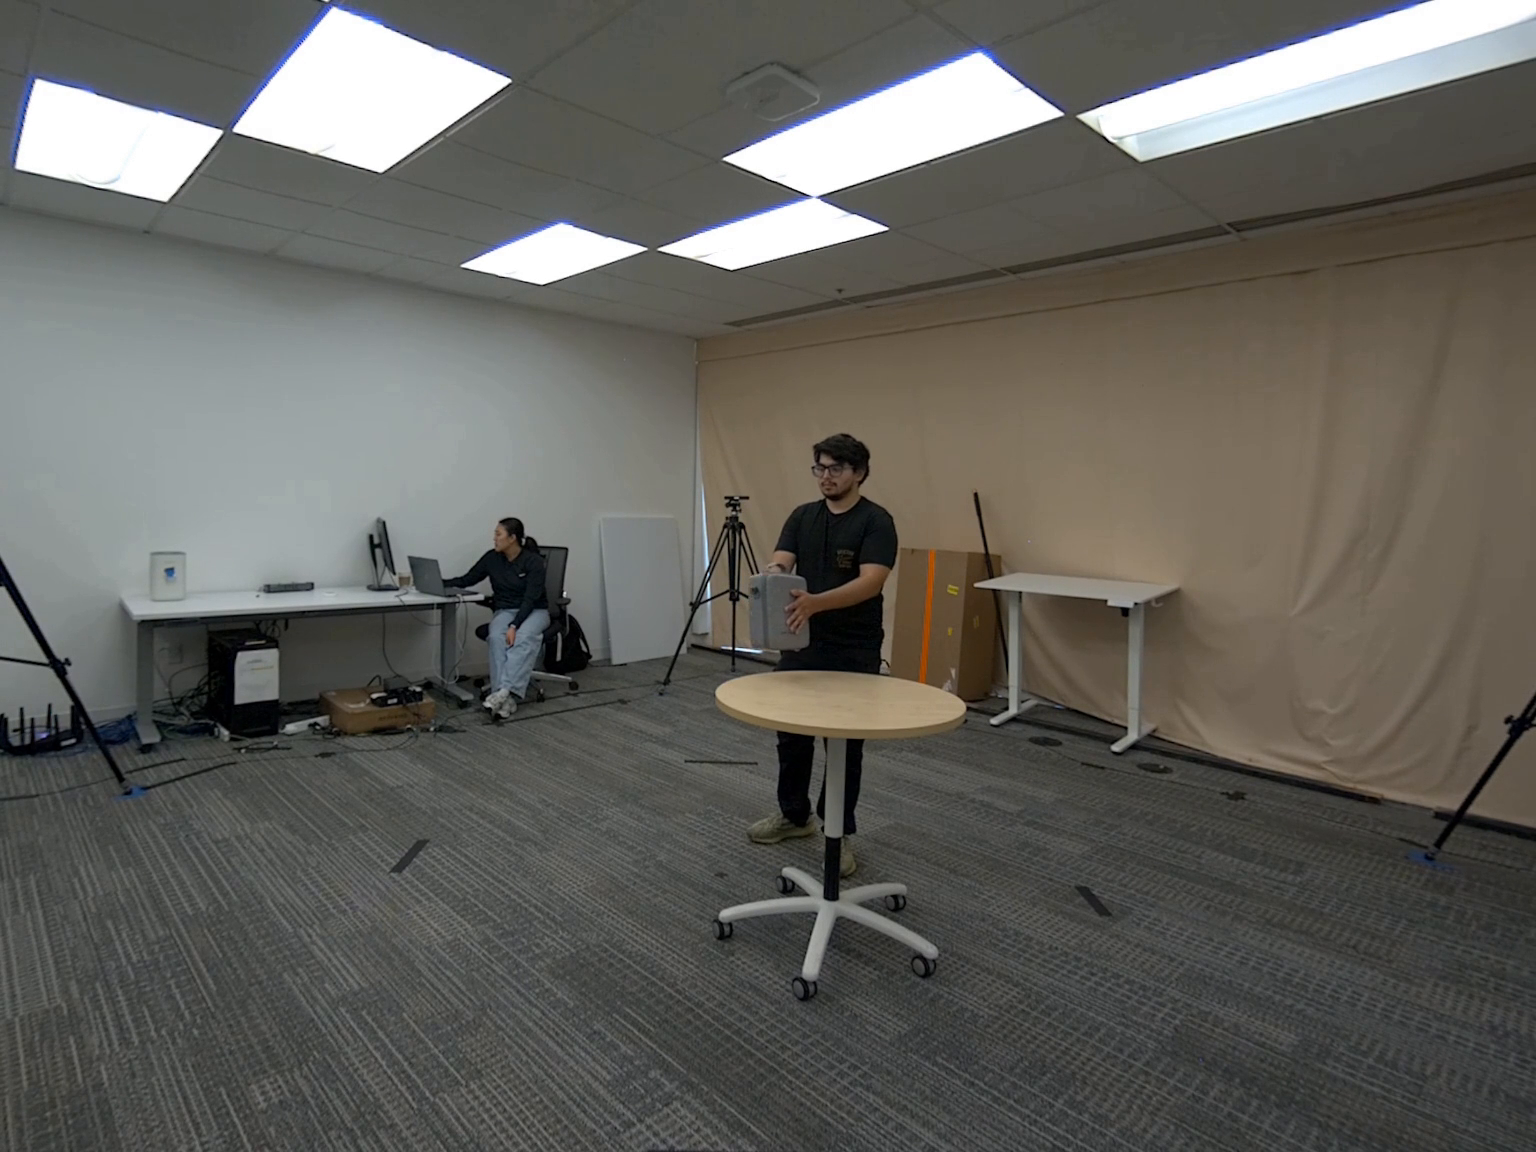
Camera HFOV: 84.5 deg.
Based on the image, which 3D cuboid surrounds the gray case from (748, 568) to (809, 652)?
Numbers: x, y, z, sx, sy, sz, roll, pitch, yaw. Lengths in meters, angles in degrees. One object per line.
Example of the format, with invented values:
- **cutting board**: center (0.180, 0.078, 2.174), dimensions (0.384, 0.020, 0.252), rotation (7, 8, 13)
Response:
- **gray case**: center (0.023, 0.121, 2.858), dimensions (0.106, 0.262, 0.250), rotation (-5, -8, 31)
